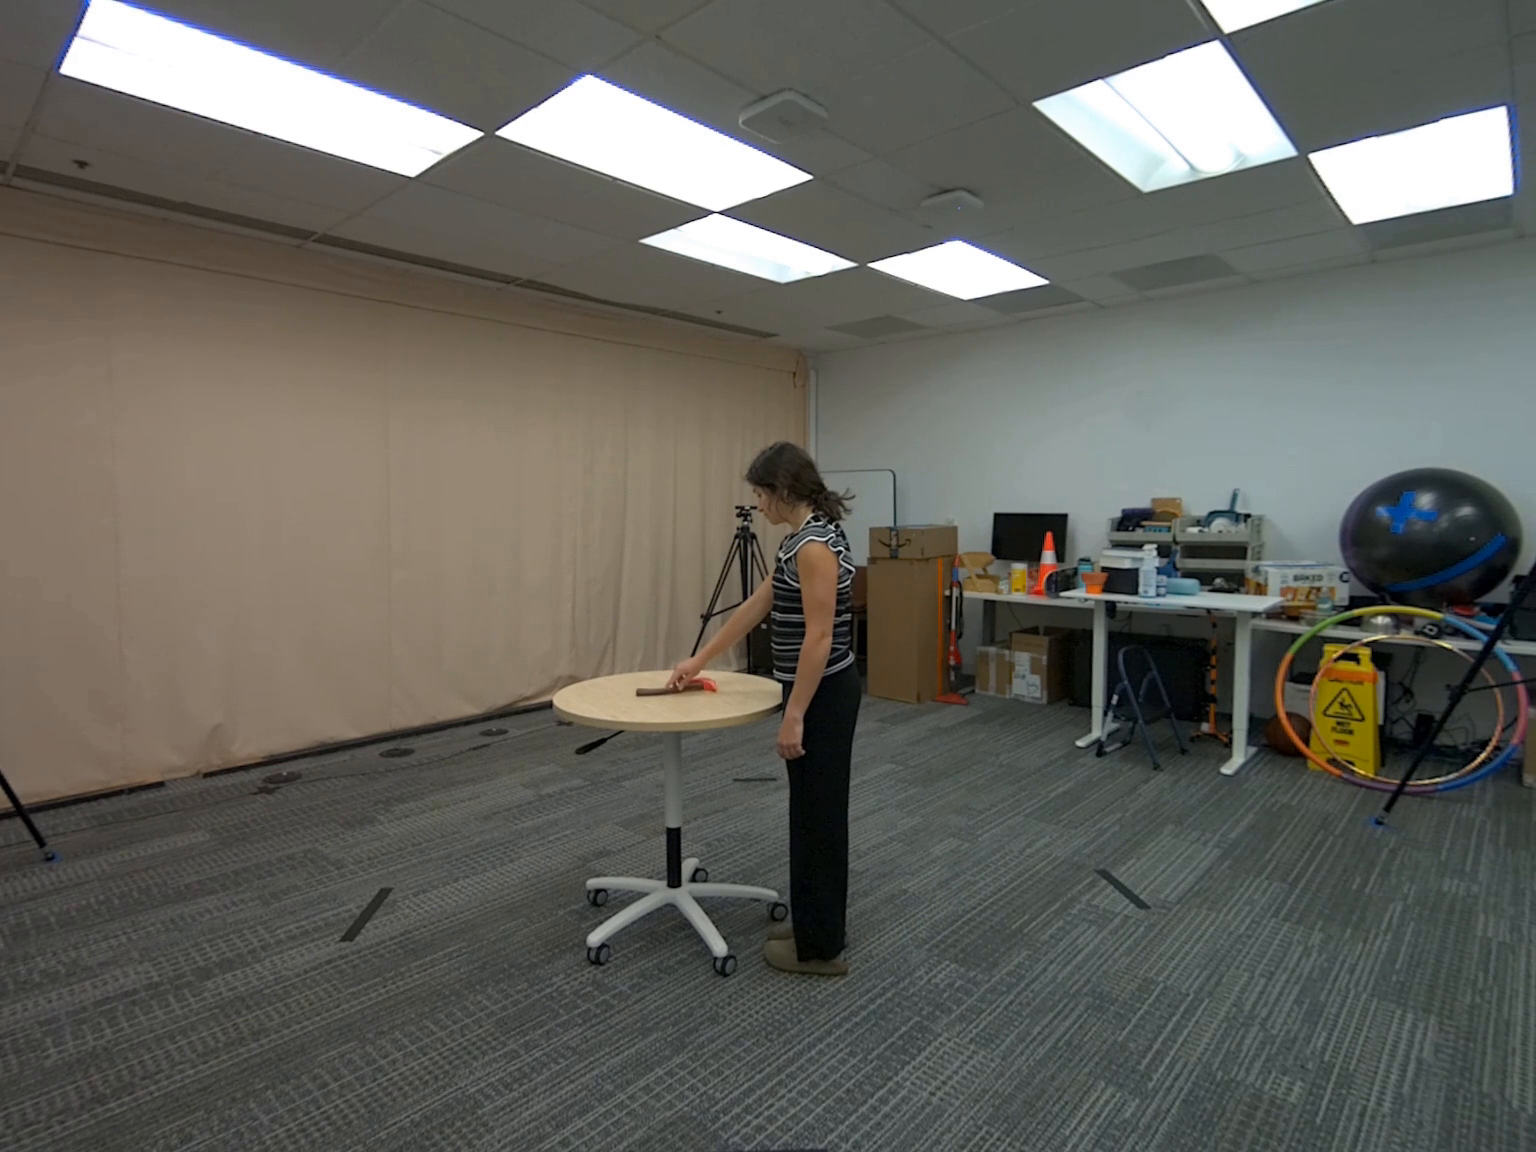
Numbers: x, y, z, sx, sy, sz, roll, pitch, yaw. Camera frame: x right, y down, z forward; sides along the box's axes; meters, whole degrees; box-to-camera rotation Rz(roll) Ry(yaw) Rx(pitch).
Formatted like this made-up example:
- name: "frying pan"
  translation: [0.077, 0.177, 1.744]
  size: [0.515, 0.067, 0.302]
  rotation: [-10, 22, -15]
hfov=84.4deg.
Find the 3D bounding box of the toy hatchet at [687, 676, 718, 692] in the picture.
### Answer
- name: "toy hatchet"
  translation: [-0.304, 0.365, 2.773]
  size: [0.268, 0.029, 0.133]
  rotation: [-1, 11, -7]
